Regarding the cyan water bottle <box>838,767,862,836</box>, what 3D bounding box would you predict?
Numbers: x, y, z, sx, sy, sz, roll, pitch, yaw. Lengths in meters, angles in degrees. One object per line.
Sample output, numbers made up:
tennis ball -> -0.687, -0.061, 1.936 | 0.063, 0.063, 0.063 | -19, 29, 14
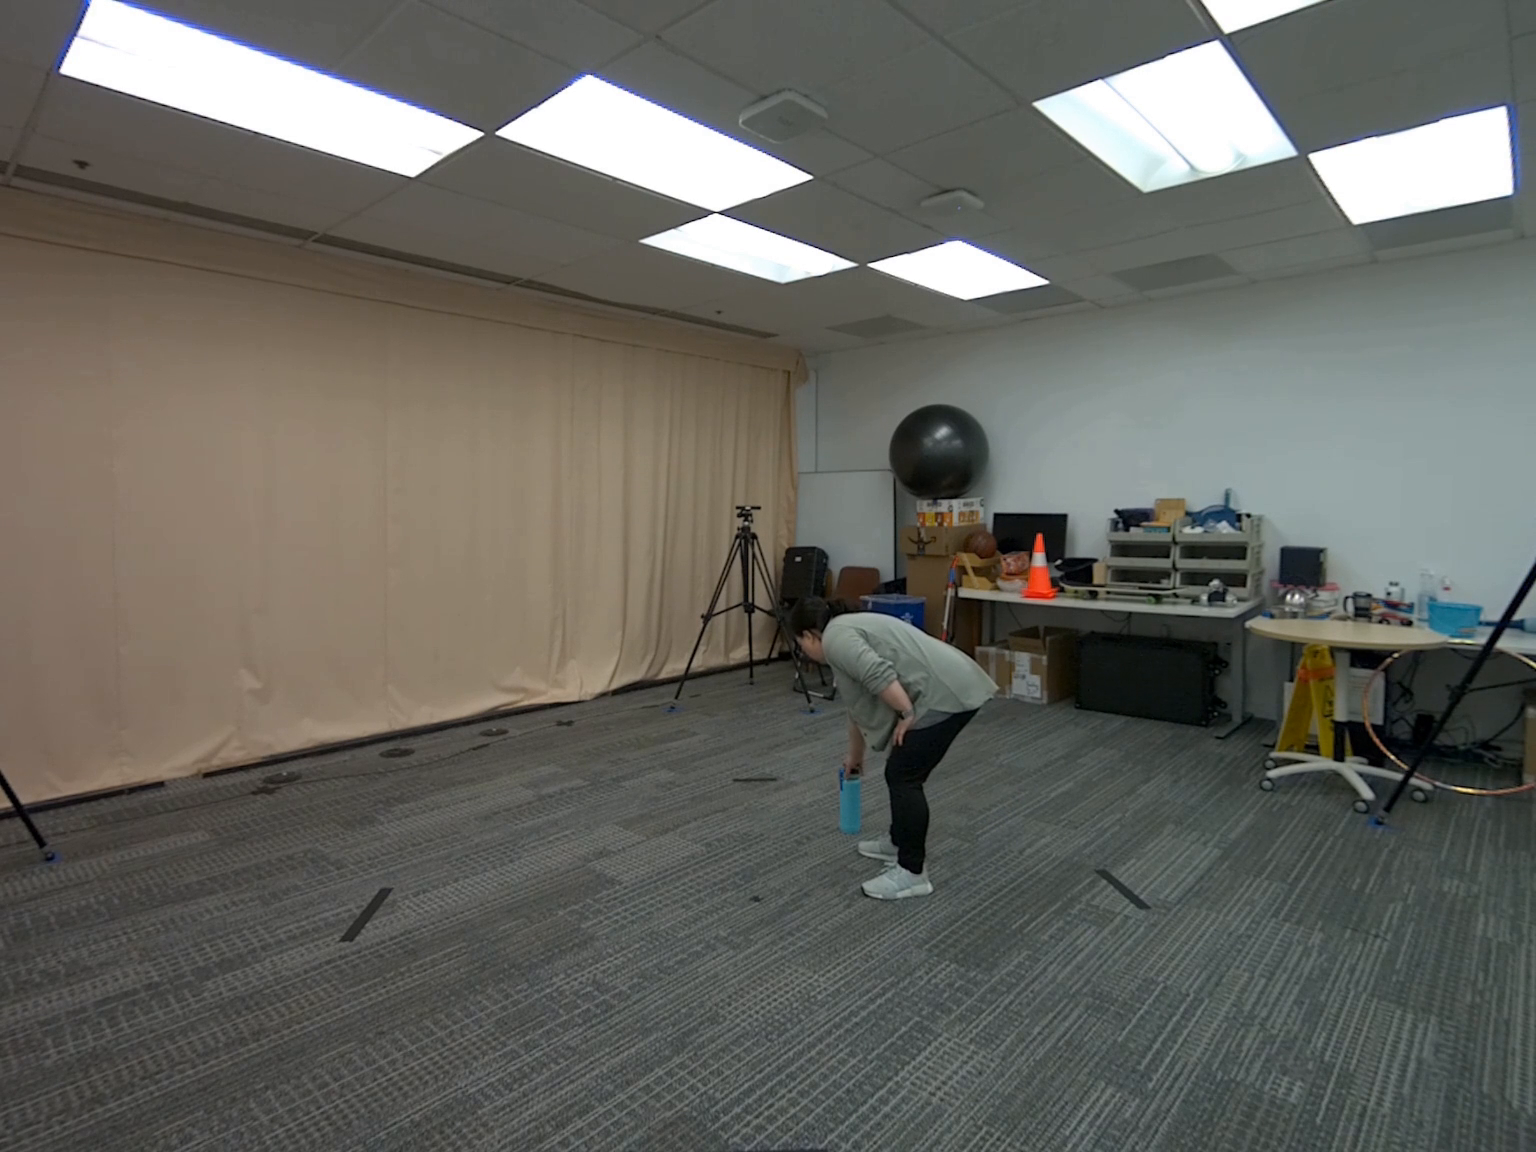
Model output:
cyan water bottle -> 0.356, 0.952, 3.612 | 0.092, 0.283, 0.092 | 1, 3, -2
